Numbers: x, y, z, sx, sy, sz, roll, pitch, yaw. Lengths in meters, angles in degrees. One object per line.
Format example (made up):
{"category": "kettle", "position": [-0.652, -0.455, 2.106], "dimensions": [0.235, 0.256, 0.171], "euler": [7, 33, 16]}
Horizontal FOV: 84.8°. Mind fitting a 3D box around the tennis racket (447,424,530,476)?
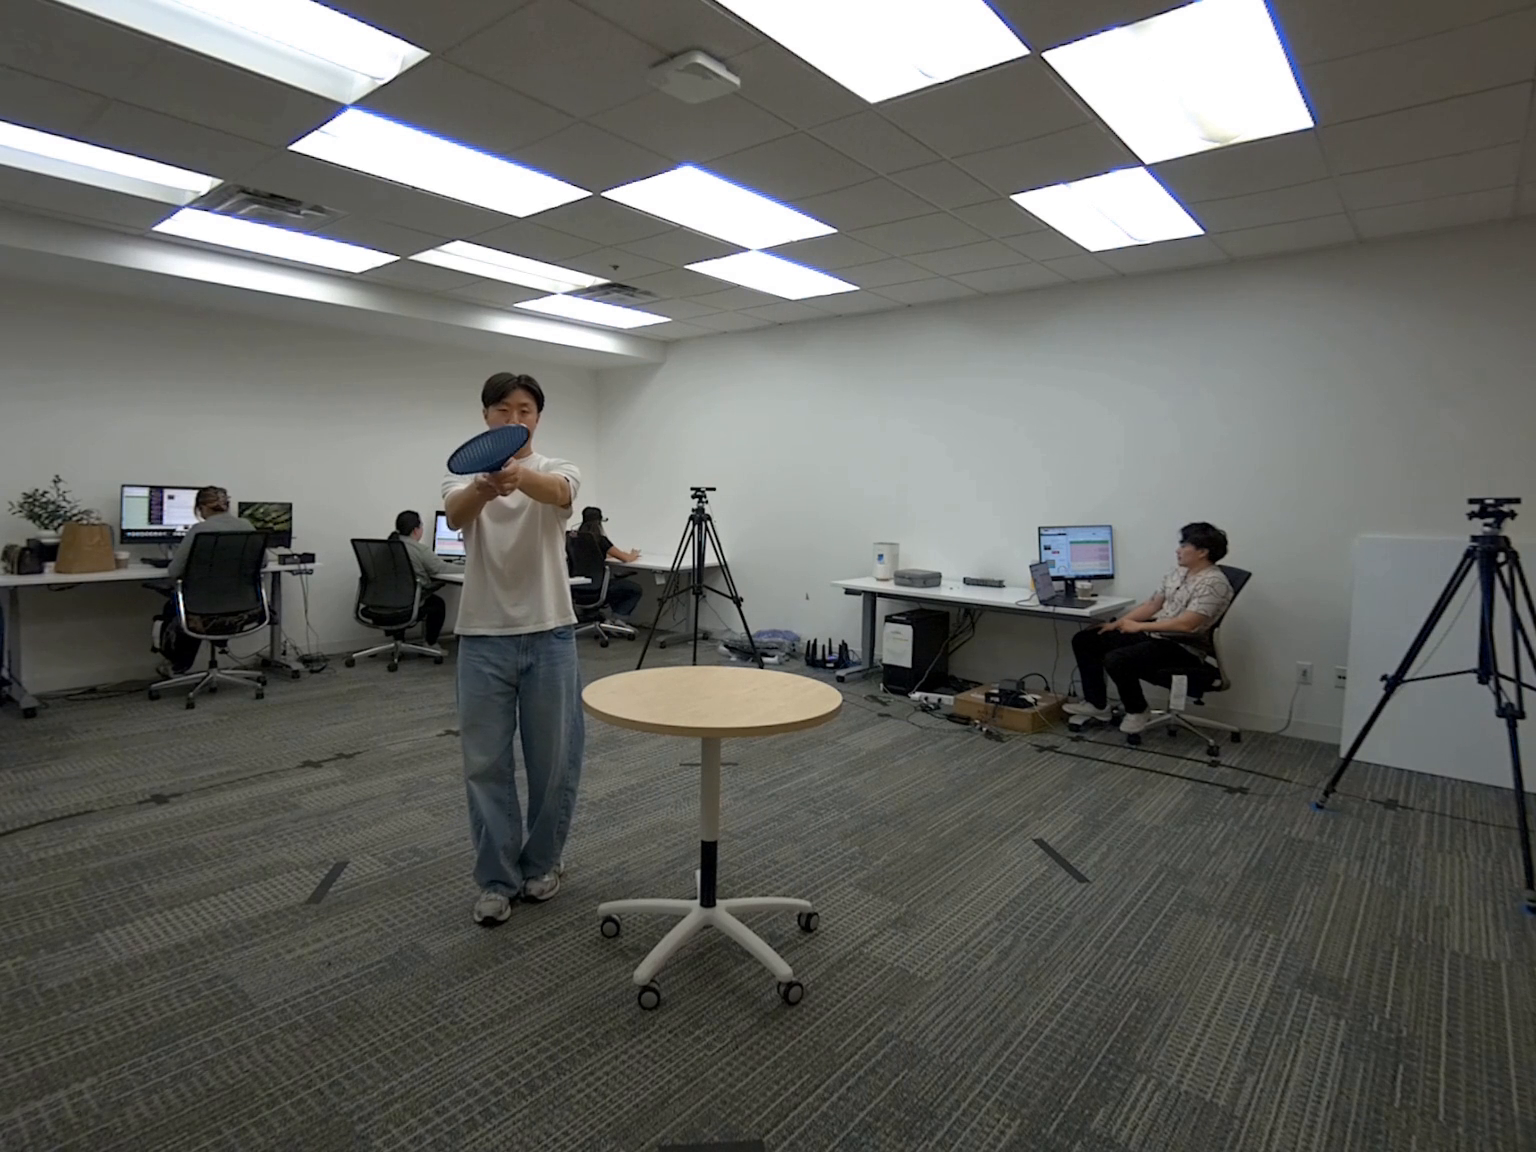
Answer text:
{"category": "tennis racket", "position": [-0.706, -0.289, 2.113], "dimensions": [0.212, 0.032, 0.436], "euler": [-31, 2, -23]}
